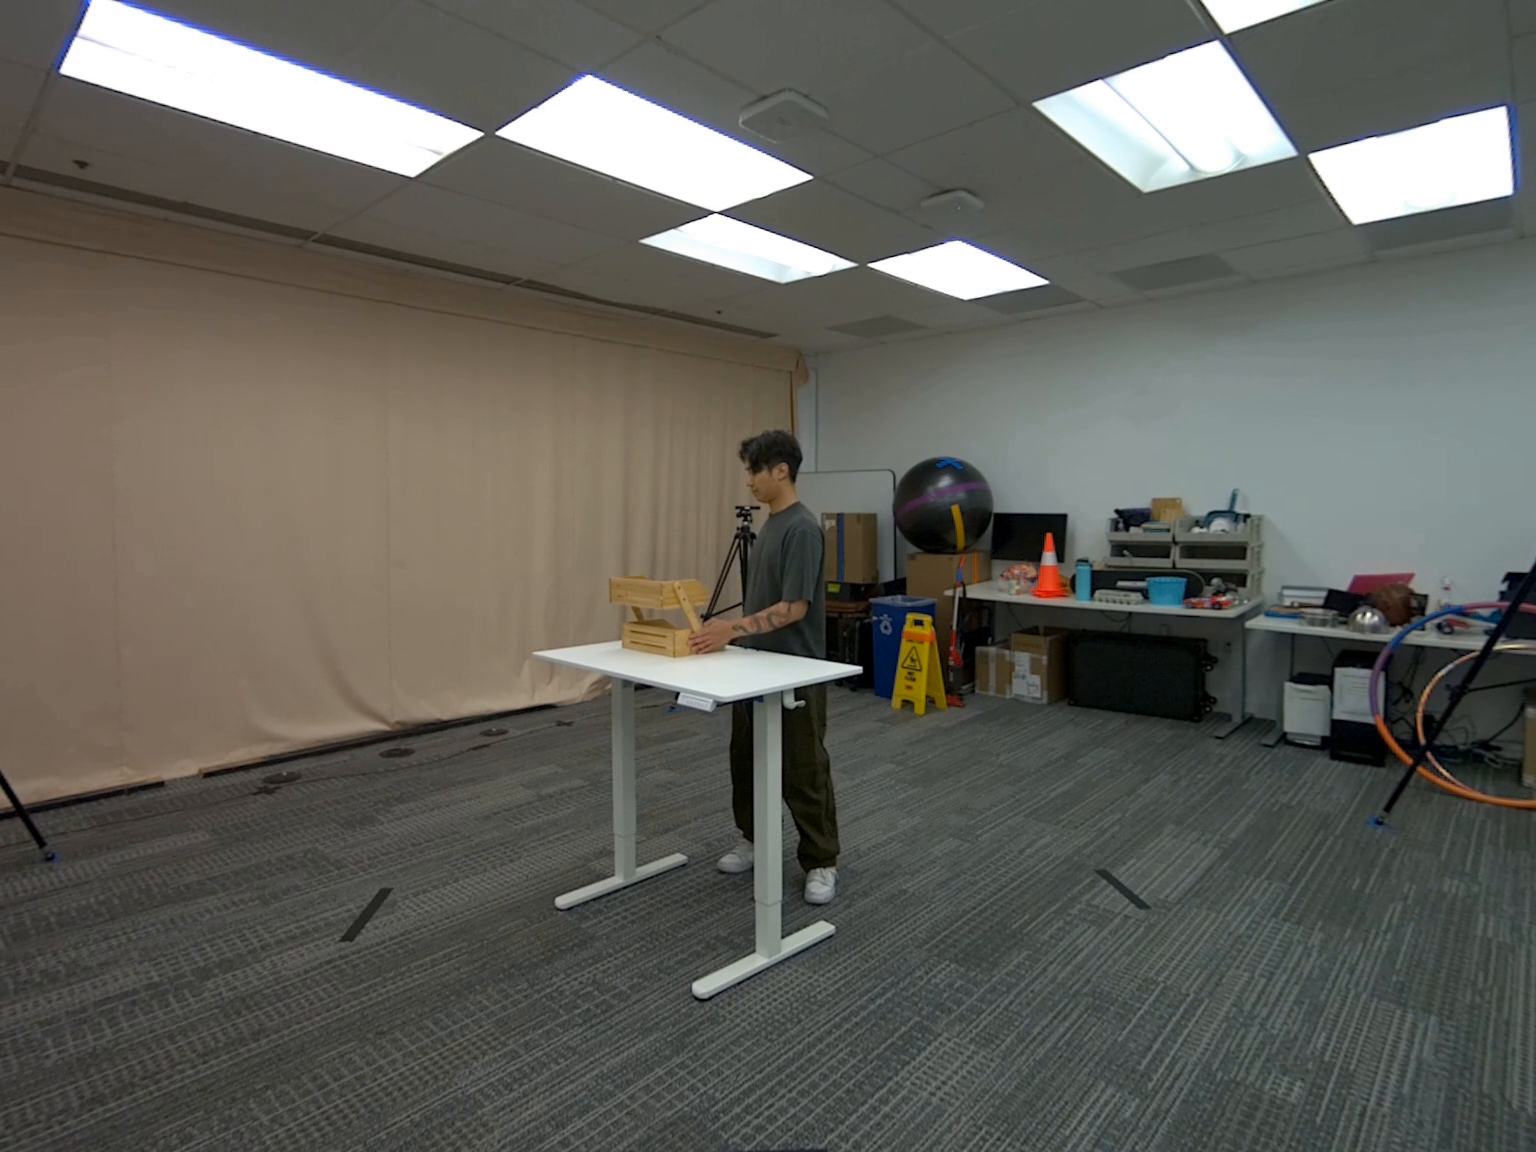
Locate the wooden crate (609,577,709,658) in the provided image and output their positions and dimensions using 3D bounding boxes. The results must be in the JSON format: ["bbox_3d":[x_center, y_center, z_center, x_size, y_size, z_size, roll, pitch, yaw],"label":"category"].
[{"bbox_3d":[-0.352,0.132,3.014,0.293,0.273,0.335,-4,5,-45],"label":"wooden crate"}]
